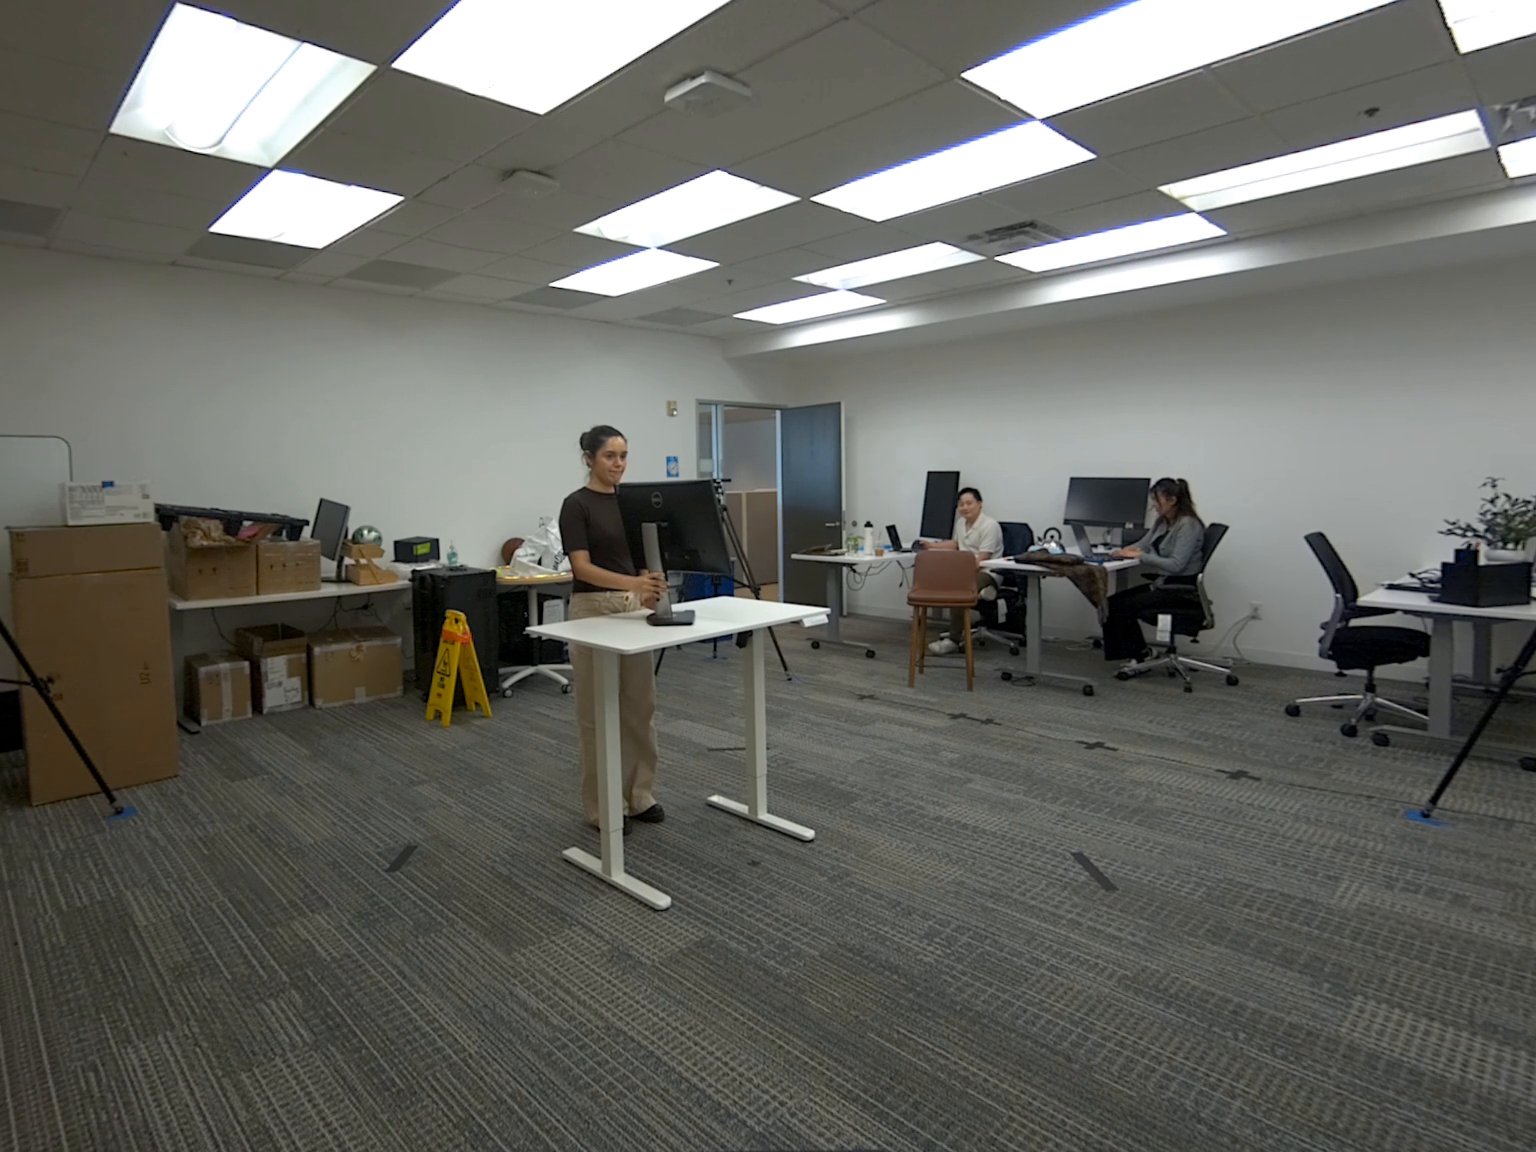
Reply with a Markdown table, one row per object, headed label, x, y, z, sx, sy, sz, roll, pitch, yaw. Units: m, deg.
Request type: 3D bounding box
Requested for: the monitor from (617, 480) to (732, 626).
| label | x | y | z | sx | sy | sz | roll | pitch | yaw |
| --- | --- | --- | --- | --- | --- | --- | --- | --- | --- |
| monitor | -0.385 | -0.091 | 3.162 | 0.554 | 0.522 | 0.182 | 1 | 2 | 38 |
